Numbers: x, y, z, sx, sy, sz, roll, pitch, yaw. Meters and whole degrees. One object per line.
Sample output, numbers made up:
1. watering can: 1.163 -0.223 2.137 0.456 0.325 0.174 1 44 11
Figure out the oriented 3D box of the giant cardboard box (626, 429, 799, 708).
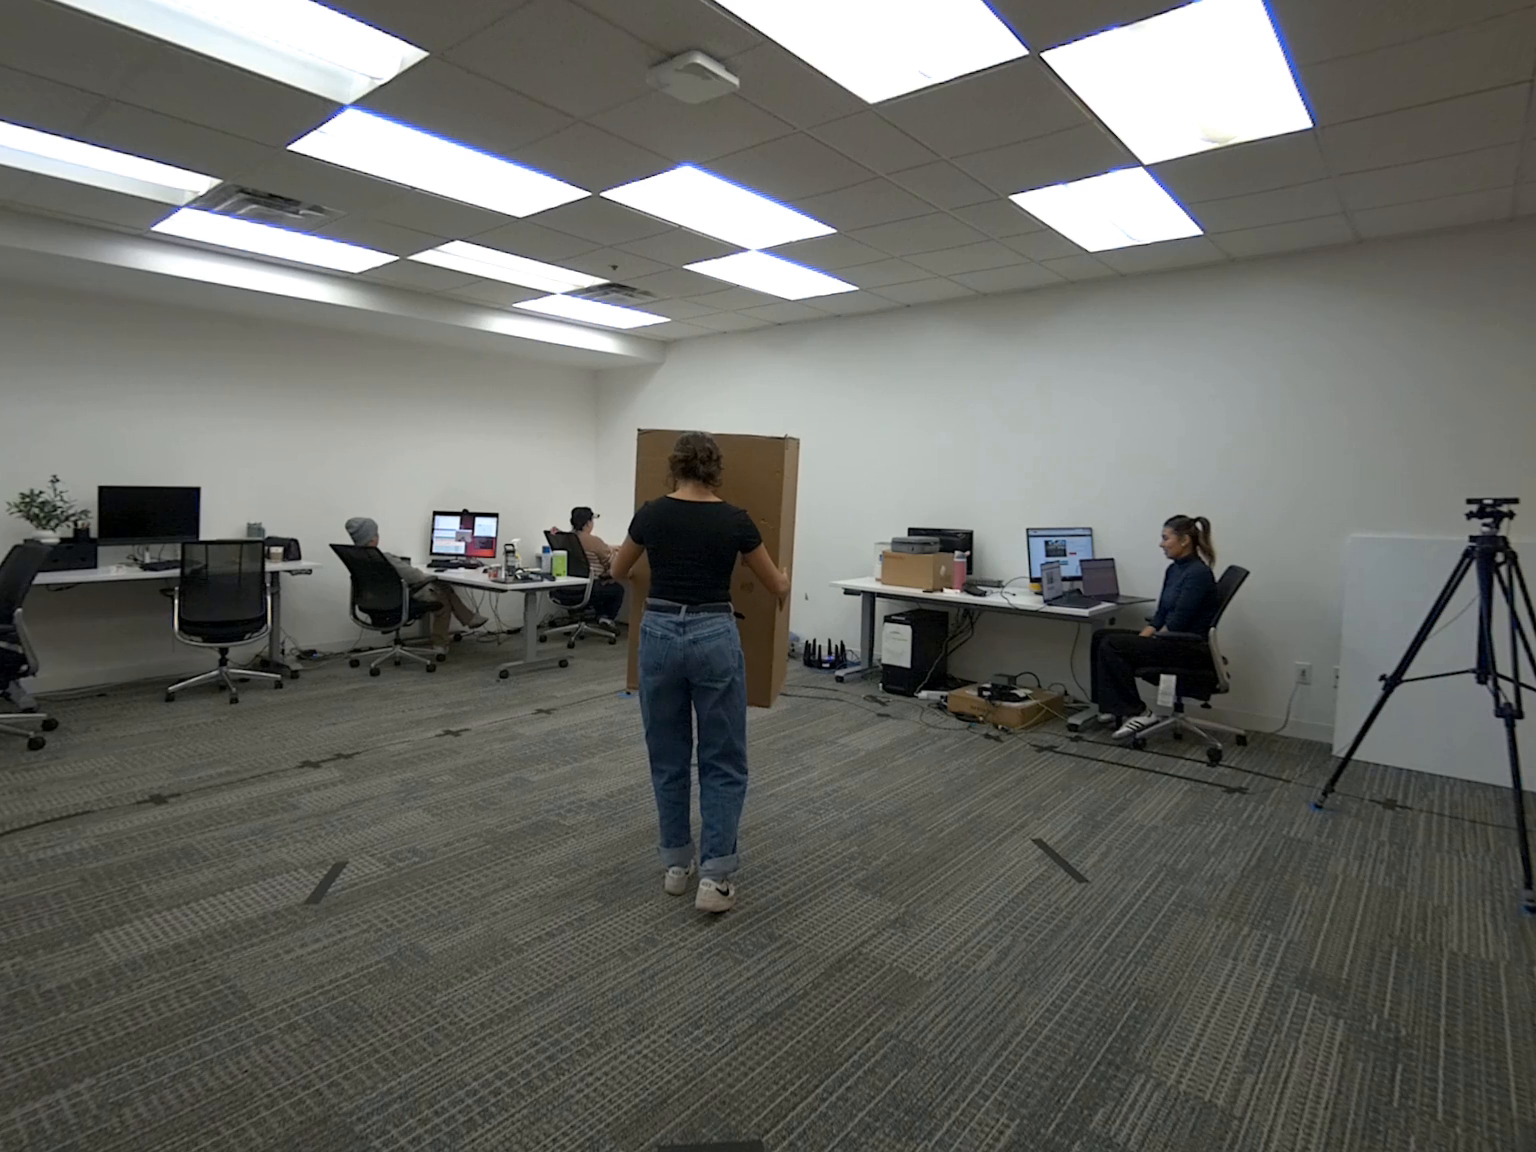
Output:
1. giant cardboard box: -0.220 -0.056 3.413 0.585 1.020 0.423 4 6 10
